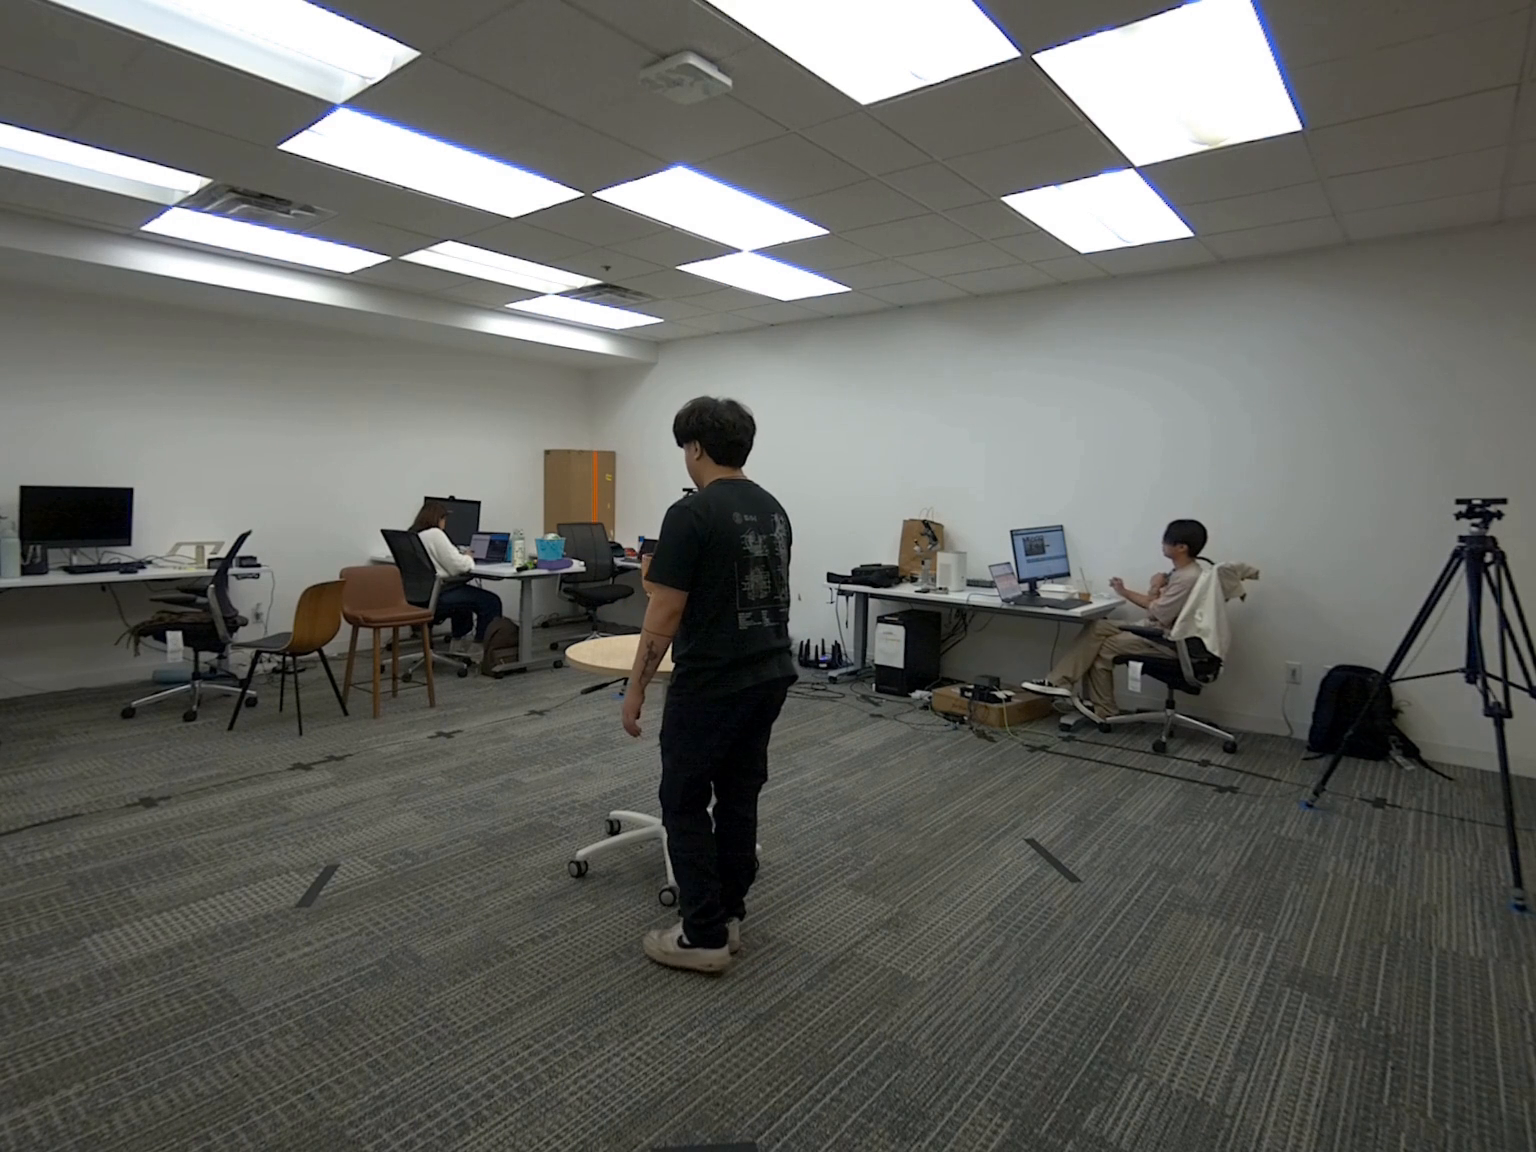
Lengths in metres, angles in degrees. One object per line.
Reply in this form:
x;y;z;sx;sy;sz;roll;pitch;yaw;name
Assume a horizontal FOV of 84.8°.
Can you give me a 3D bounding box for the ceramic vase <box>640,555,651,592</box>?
-0.388;0.032;3.008;0.132;0.219;0.163;2;6;-19;ceramic vase
